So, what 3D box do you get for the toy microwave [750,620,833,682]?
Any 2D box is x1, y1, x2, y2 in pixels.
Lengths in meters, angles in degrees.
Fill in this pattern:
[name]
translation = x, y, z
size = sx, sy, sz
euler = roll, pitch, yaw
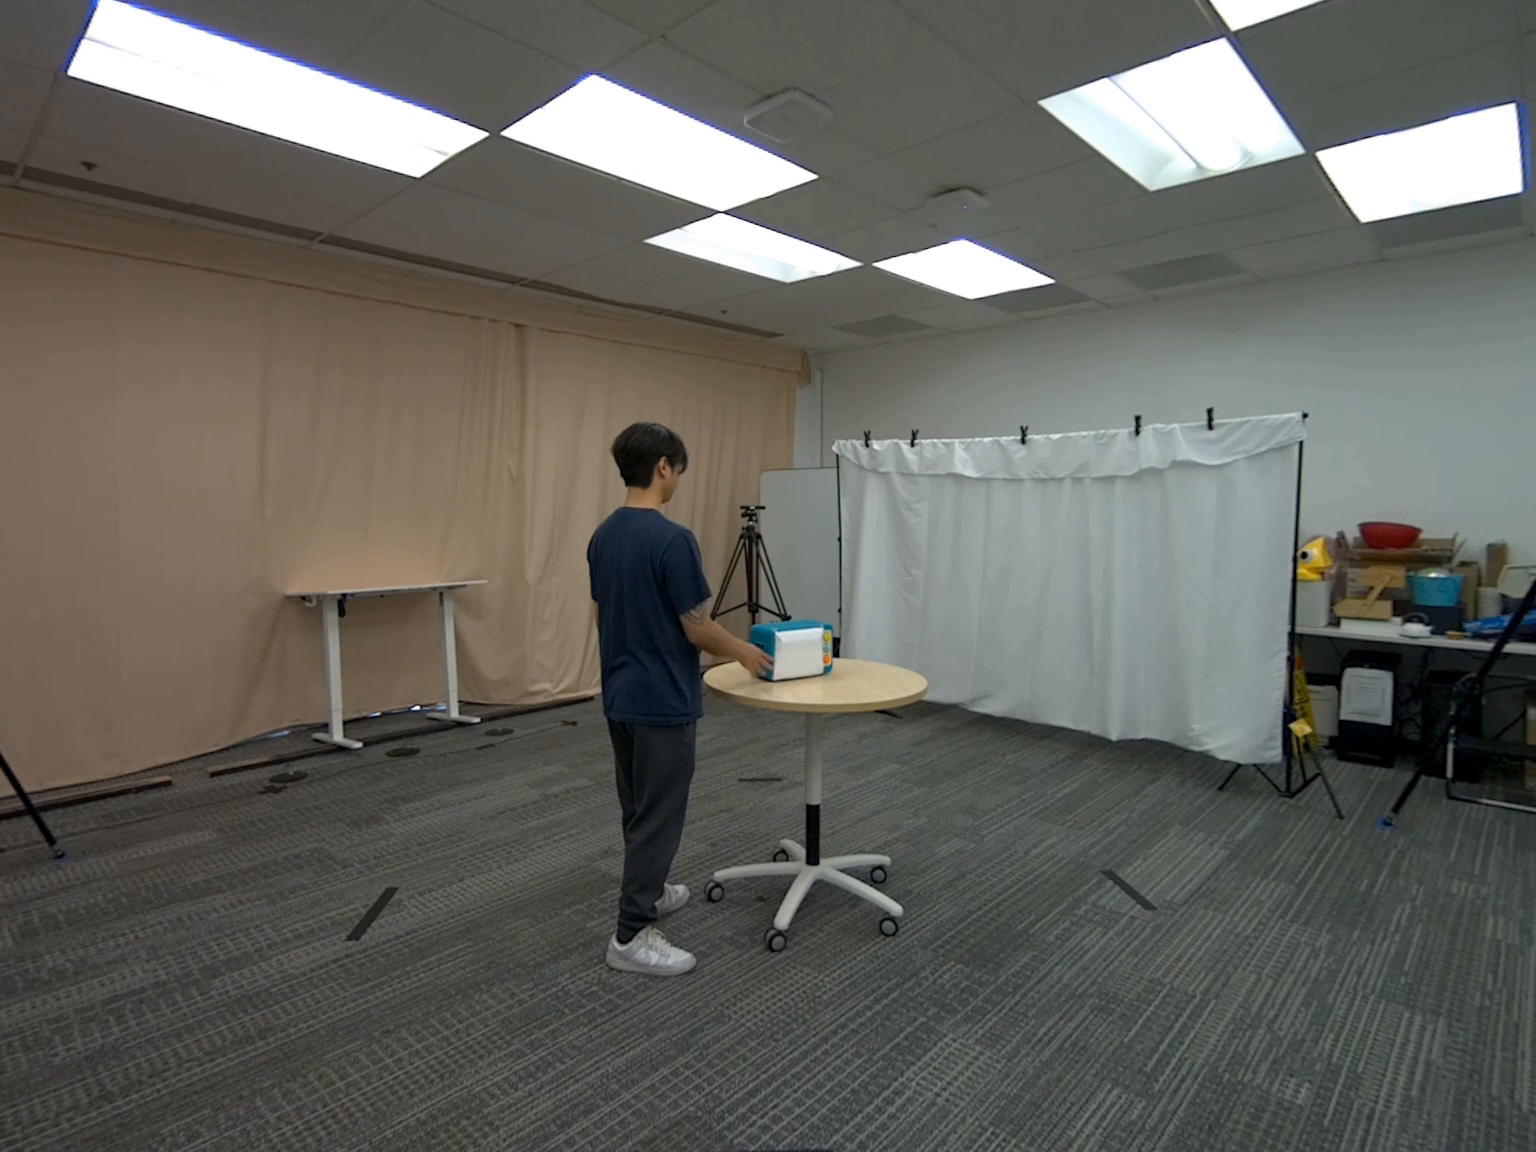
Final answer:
[toy microwave]
translation = 0.093, 0.258, 2.929
size = 0.278, 0.184, 0.157
euler = -3, 5, -33
